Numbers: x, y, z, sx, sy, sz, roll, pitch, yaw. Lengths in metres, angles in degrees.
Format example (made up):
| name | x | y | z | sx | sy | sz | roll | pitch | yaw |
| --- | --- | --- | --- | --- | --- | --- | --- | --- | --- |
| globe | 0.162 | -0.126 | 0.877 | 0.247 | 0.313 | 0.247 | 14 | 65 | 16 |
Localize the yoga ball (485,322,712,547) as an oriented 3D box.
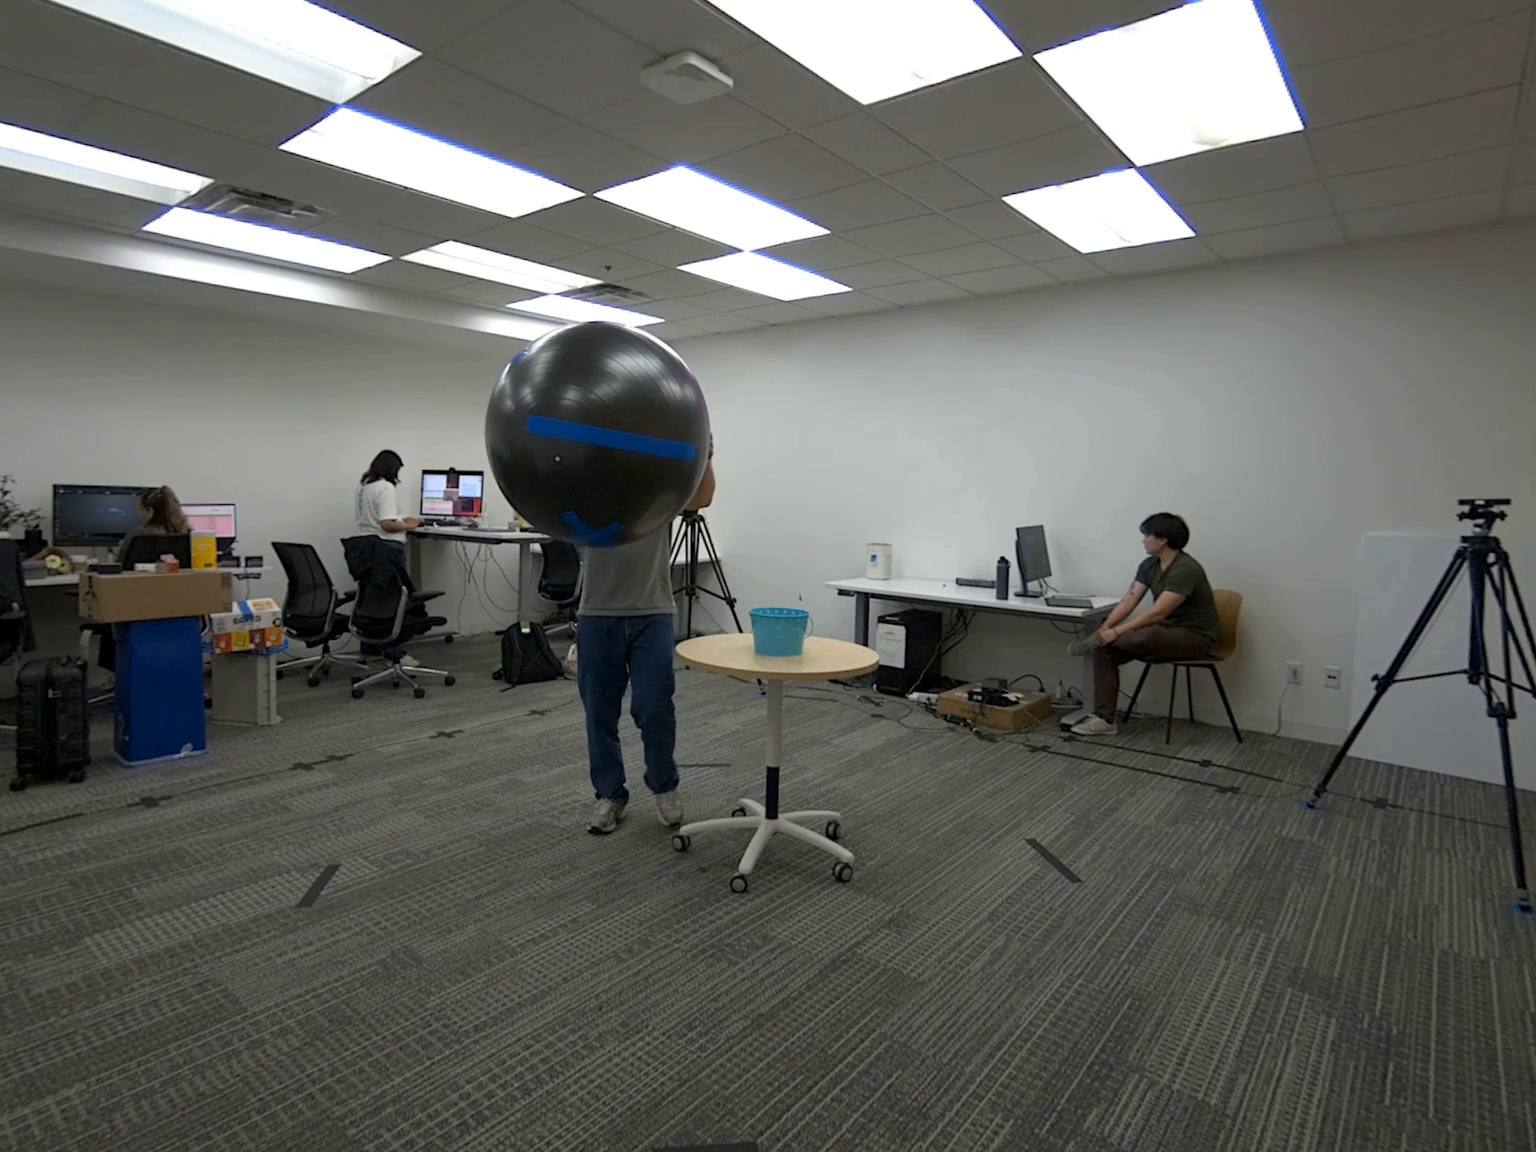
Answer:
| name | x | y | z | sx | sy | sz | roll | pitch | yaw |
| --- | --- | --- | --- | --- | --- | --- | --- | --- | --- |
| yoga ball | -0.580 | -0.473 | 2.886 | 0.757 | 0.755 | 0.762 | 1 | 4 | -2 |
